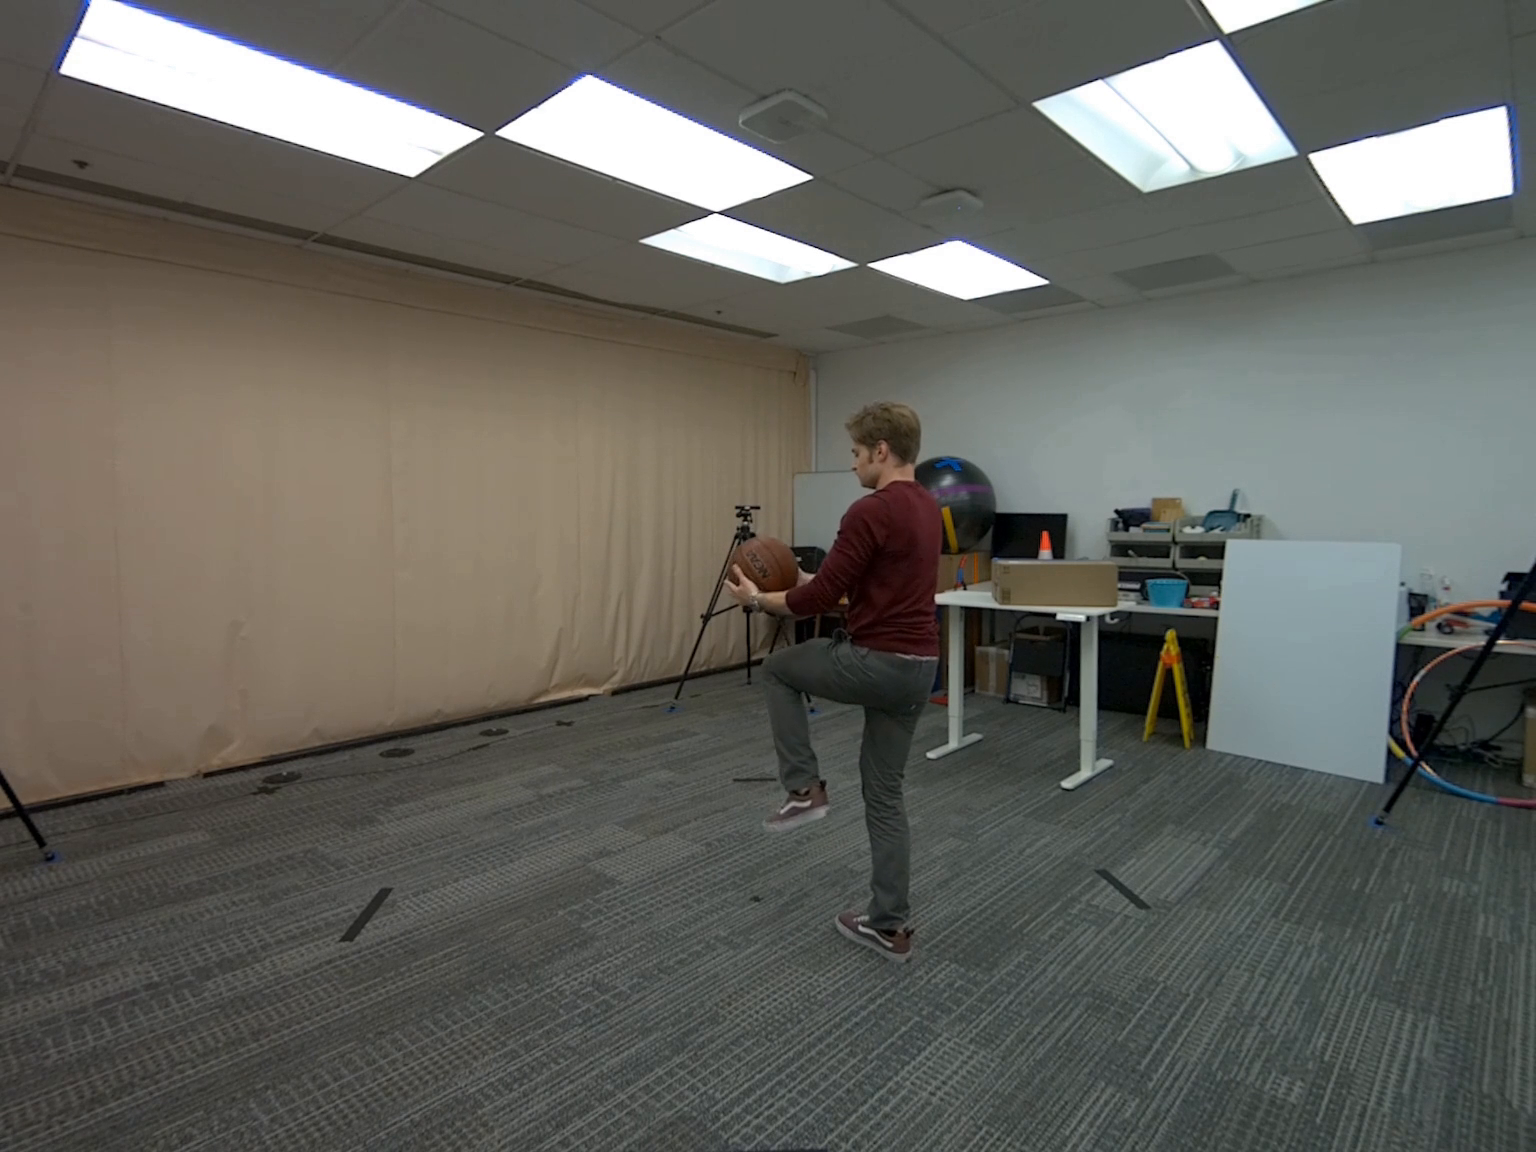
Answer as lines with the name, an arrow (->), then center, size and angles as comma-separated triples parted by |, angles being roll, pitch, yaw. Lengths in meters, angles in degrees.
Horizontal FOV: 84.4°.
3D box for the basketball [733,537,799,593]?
basketball -> -0.009, -0.017, 2.804 | 0.236, 0.235, 0.237 | 0, 4, -2
